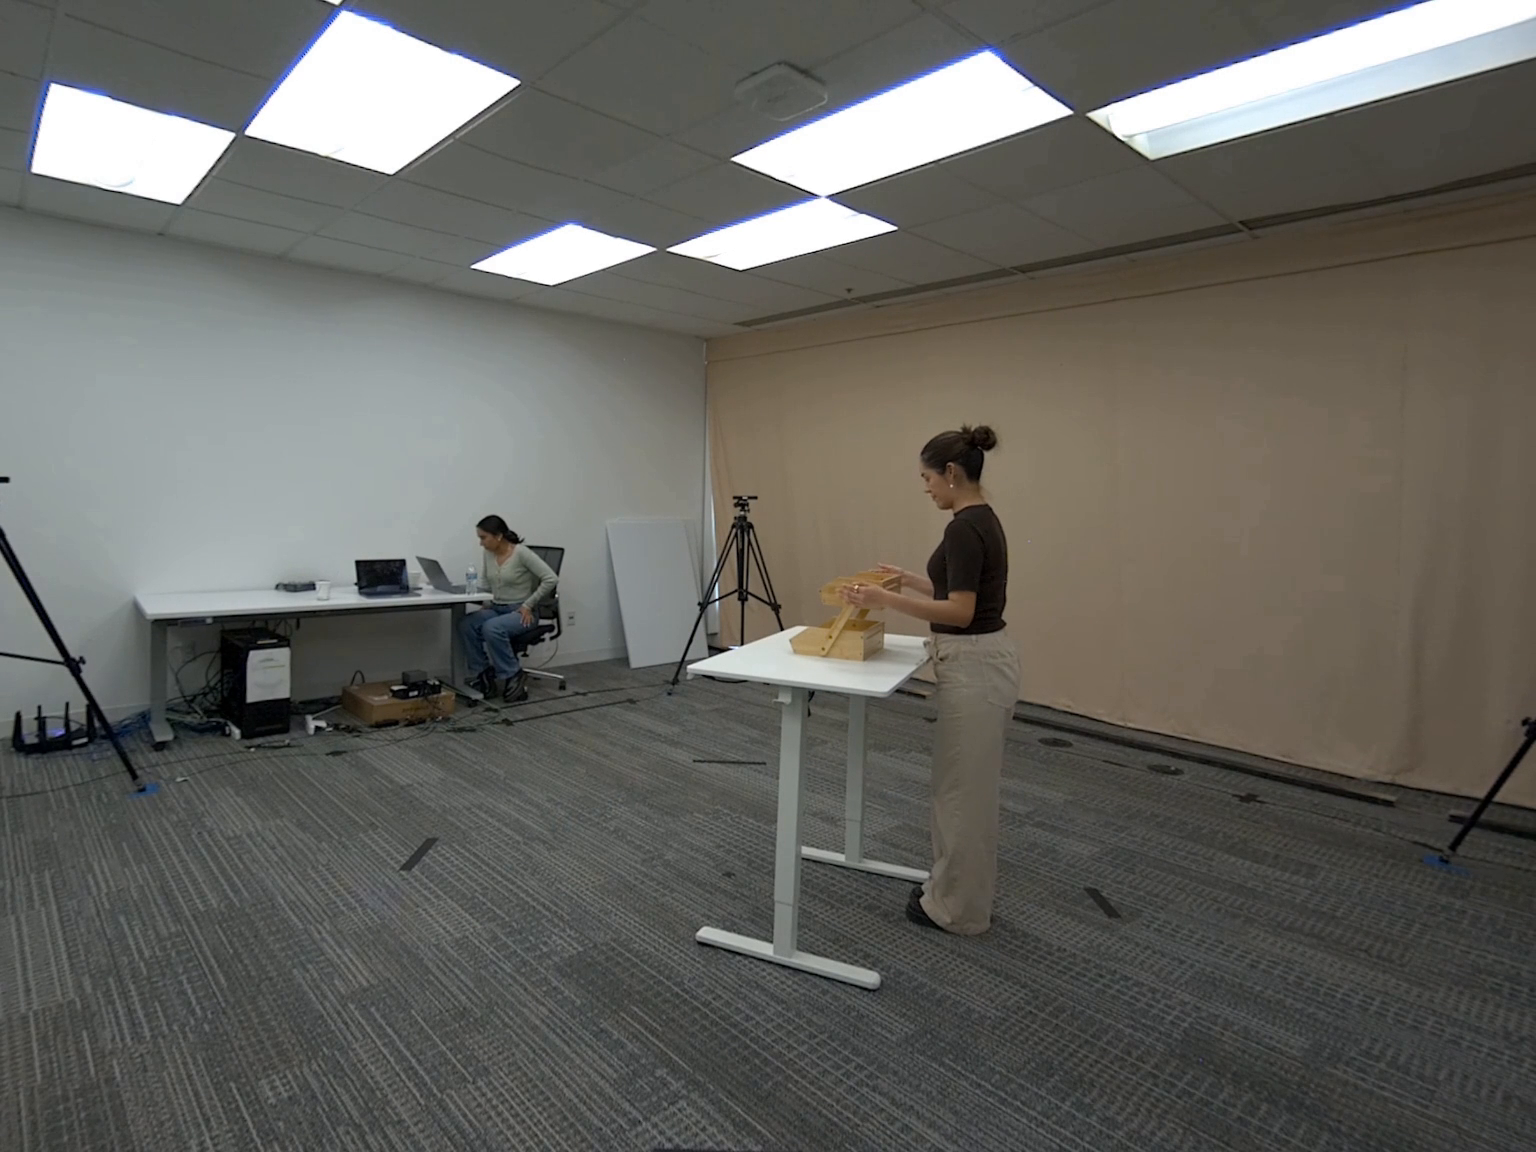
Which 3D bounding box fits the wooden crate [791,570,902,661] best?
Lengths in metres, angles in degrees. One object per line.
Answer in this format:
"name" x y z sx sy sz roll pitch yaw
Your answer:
"wooden crate" 0.263 0.121 2.840 0.307 0.272 0.320 5 5 20
